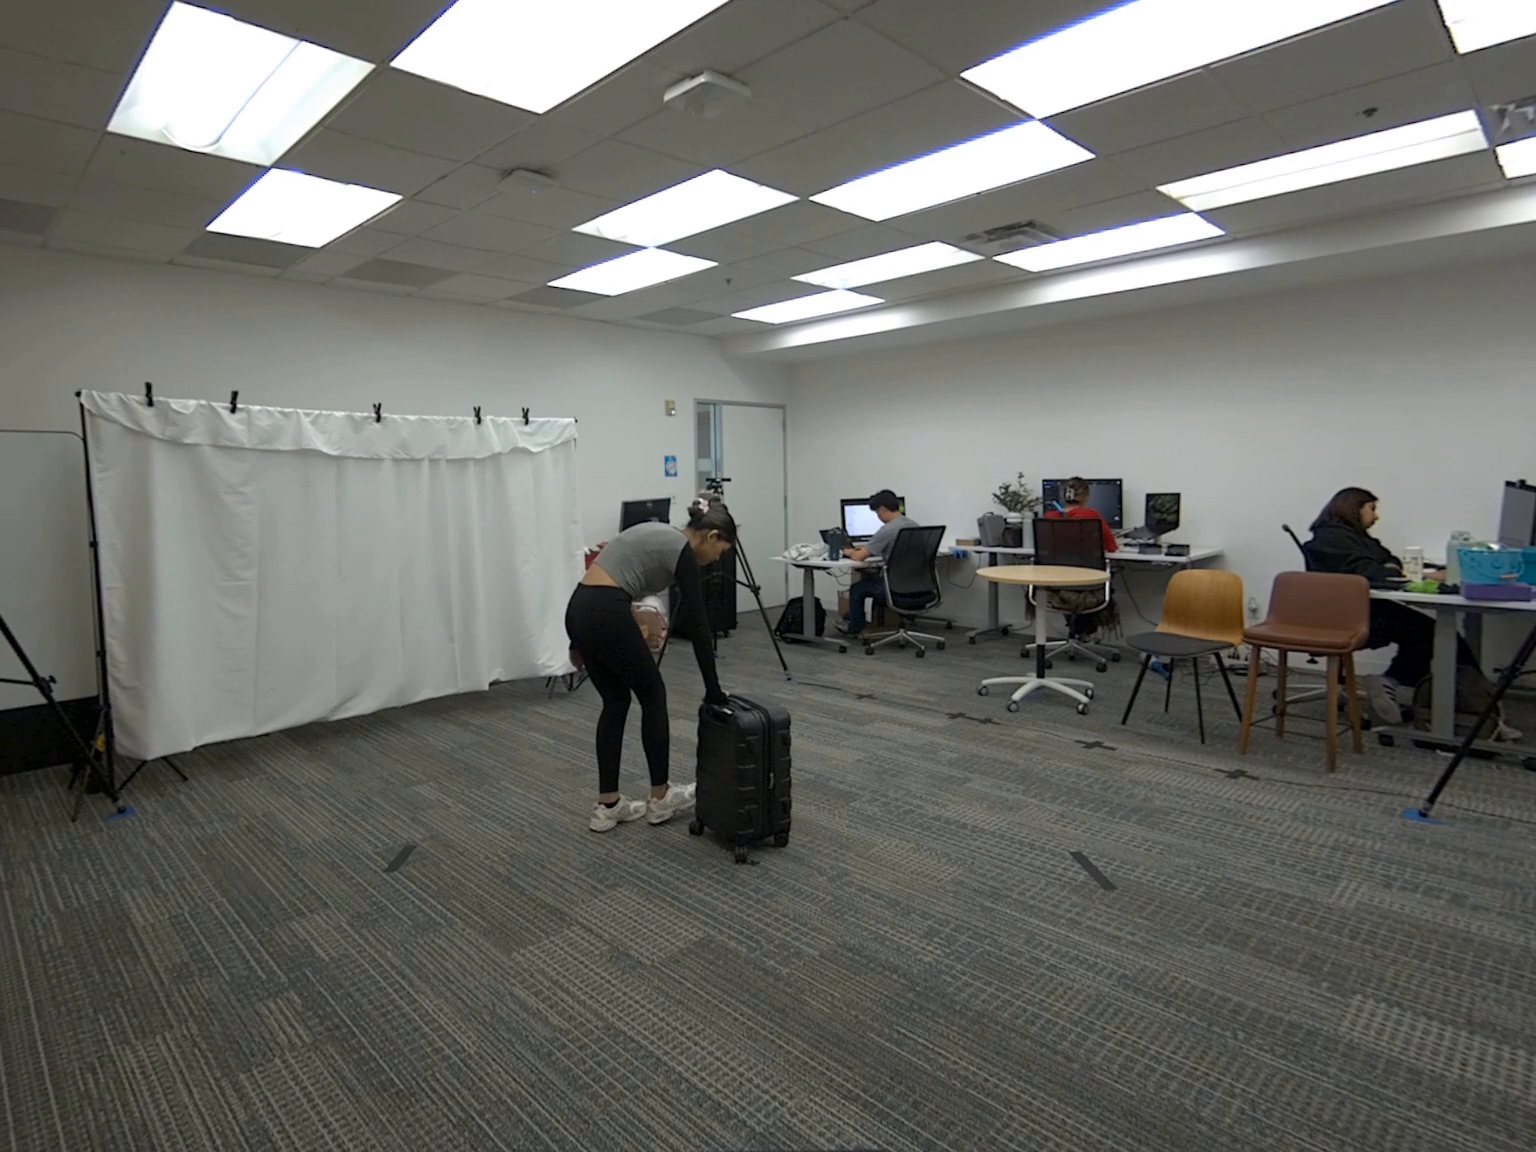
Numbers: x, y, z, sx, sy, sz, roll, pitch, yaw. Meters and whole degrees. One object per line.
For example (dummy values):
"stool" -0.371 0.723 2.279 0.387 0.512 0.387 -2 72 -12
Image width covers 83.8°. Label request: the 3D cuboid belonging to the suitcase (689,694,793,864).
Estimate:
"suitcase" -0.094 0.745 3.302 0.242 0.548 0.386 0 2 -33
